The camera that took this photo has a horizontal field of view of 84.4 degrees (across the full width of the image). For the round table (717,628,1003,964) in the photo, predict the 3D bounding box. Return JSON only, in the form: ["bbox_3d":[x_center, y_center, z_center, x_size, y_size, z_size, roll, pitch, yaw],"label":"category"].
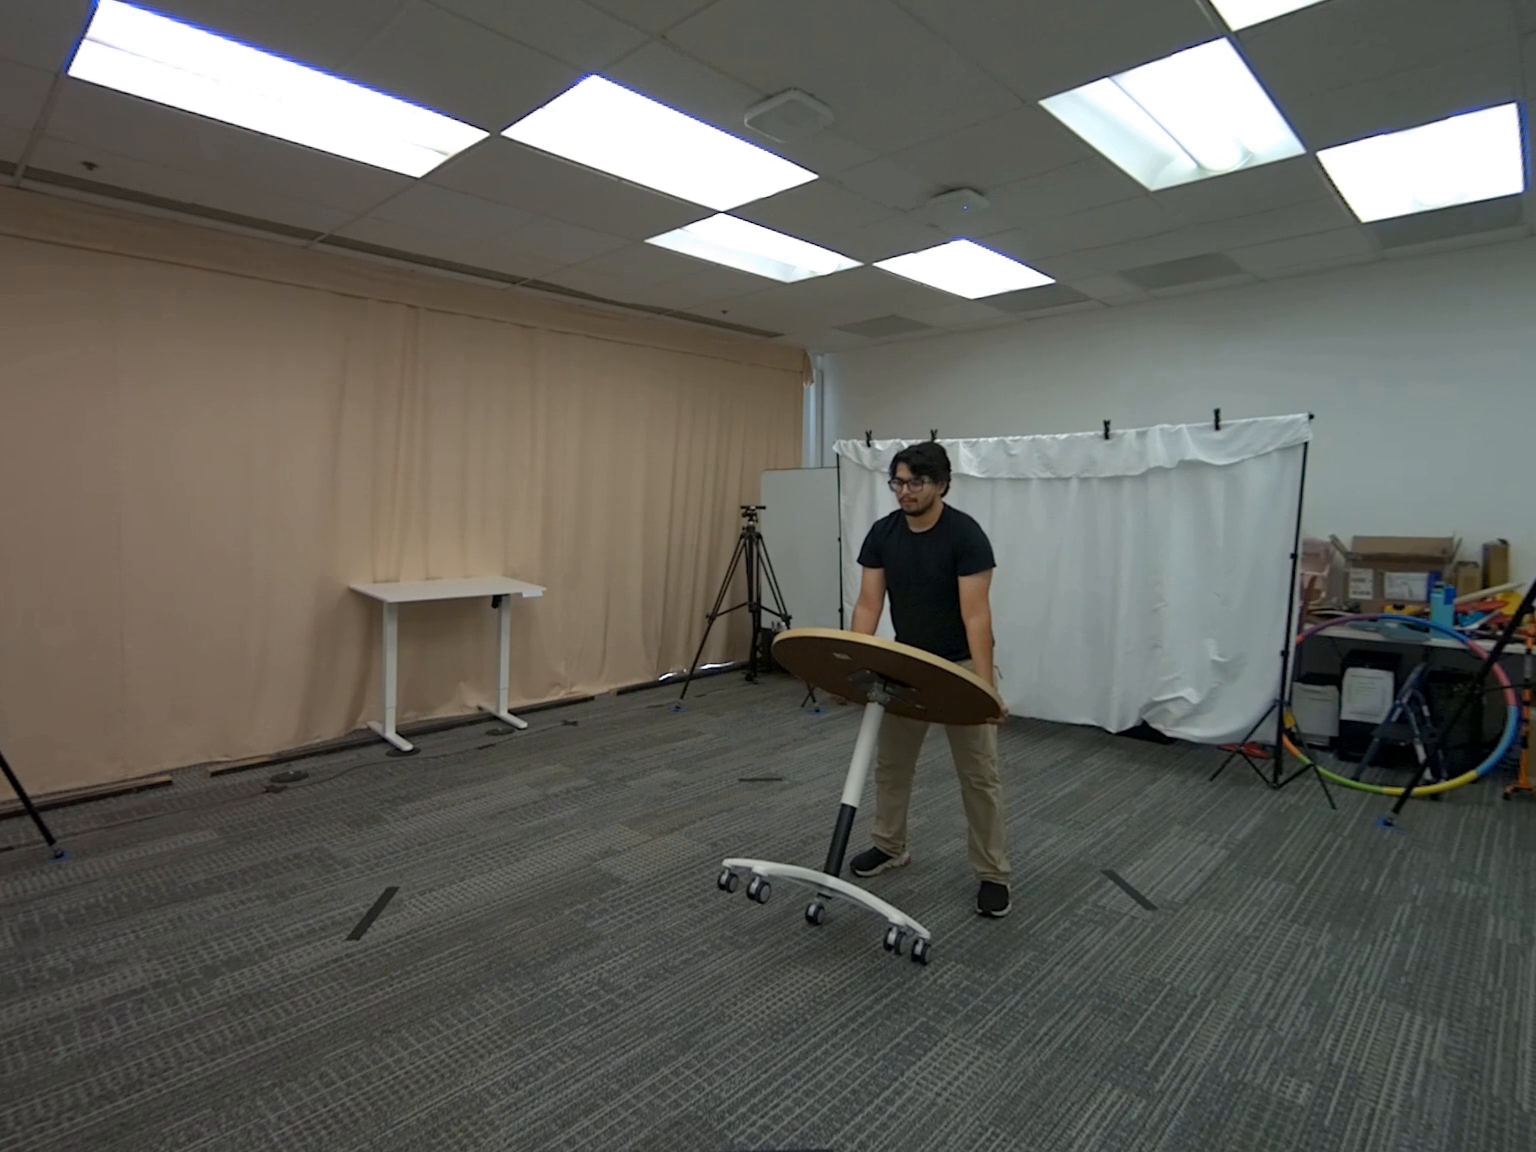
[{"bbox_3d":[0.277,0.694,2.667,0.791,0.790,0.776,17,-20,4],"label":"round table"}]
